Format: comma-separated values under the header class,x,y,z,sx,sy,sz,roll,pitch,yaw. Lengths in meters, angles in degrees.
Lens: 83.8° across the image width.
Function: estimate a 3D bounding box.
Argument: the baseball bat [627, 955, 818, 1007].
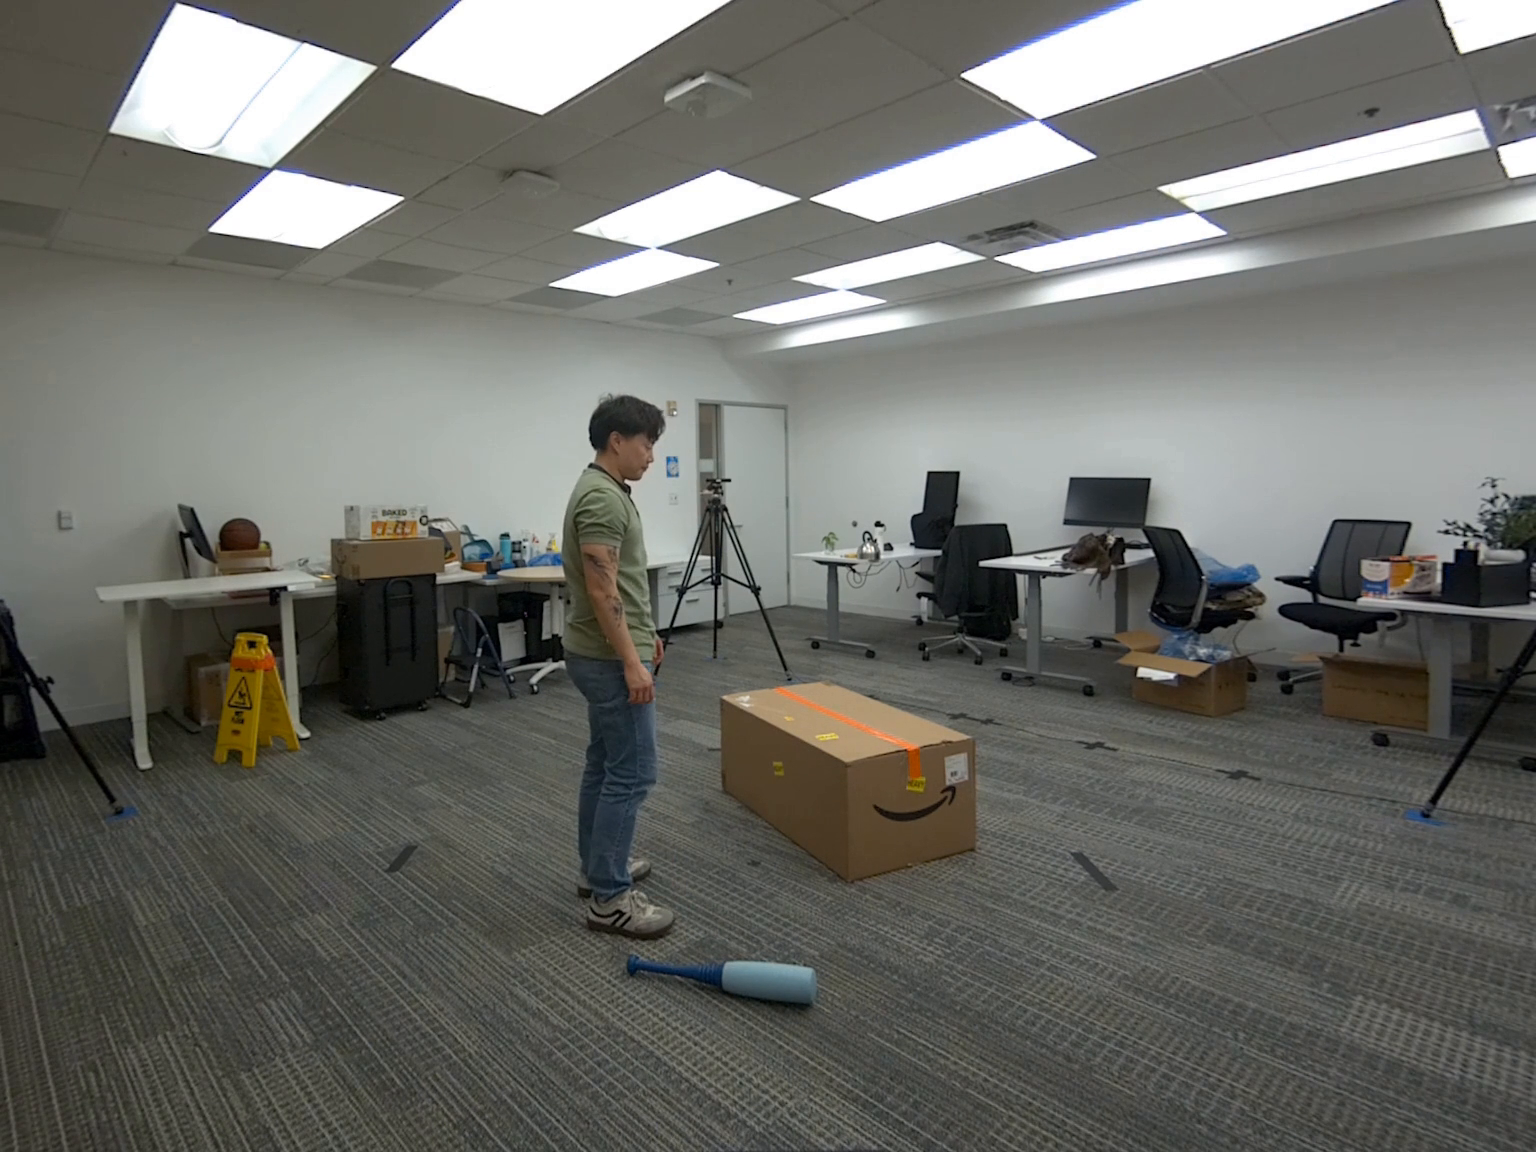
class,x,y,z,sx,sy,sz,roll,pitch,yaw
baseball bat,-0.131,1.095,2.350,0.551,0.089,0.088,-3,4,17
